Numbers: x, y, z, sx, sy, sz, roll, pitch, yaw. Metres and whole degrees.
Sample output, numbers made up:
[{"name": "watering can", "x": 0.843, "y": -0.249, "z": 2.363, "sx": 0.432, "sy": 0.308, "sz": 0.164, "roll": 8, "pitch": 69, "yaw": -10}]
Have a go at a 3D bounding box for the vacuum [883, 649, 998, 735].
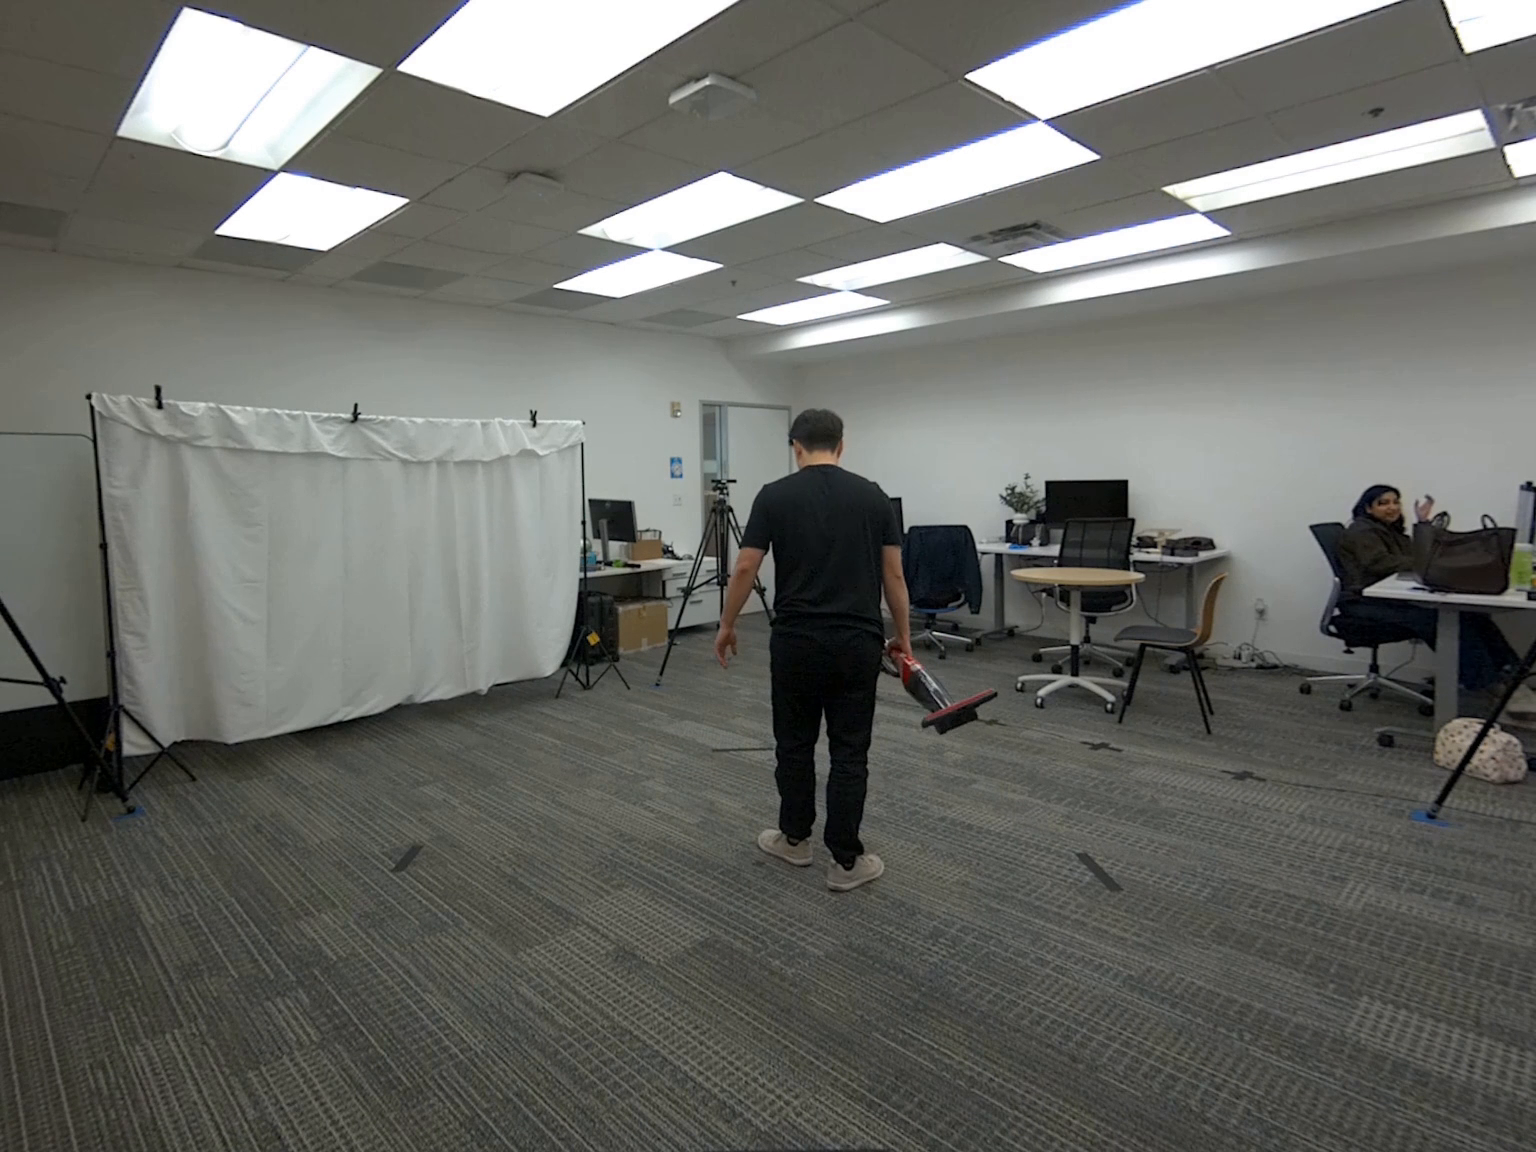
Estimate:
[{"name": "vacuum", "x": 0.452, "y": 0.294, "z": 3.173, "sx": 0.252, "sy": 0.141, "sz": 1.077, "roll": -26, "pitch": 21, "yaw": -7}]
